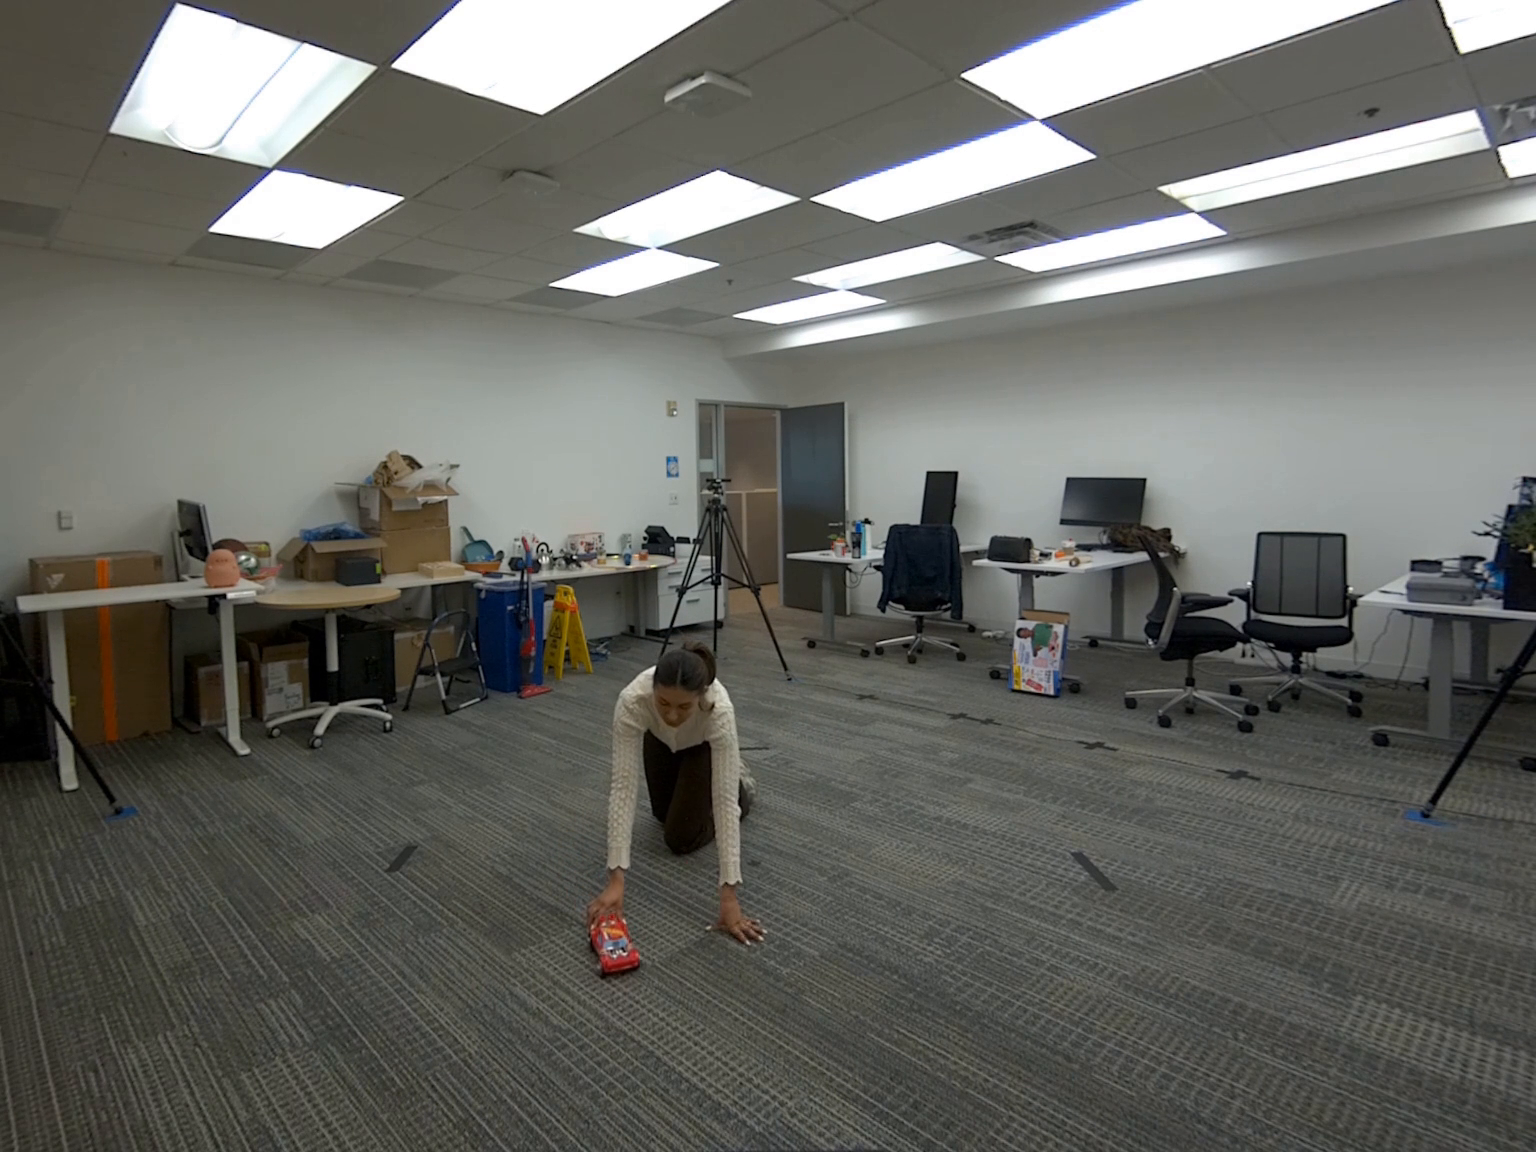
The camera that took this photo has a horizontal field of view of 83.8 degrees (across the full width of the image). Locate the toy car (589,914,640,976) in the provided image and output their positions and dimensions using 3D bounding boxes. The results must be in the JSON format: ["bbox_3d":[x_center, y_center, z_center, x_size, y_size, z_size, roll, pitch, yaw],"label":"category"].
[{"bbox_3d":[-0.464,1.095,2.527,0.128,0.082,0.262,-4,17,-21],"label":"toy car"}]
